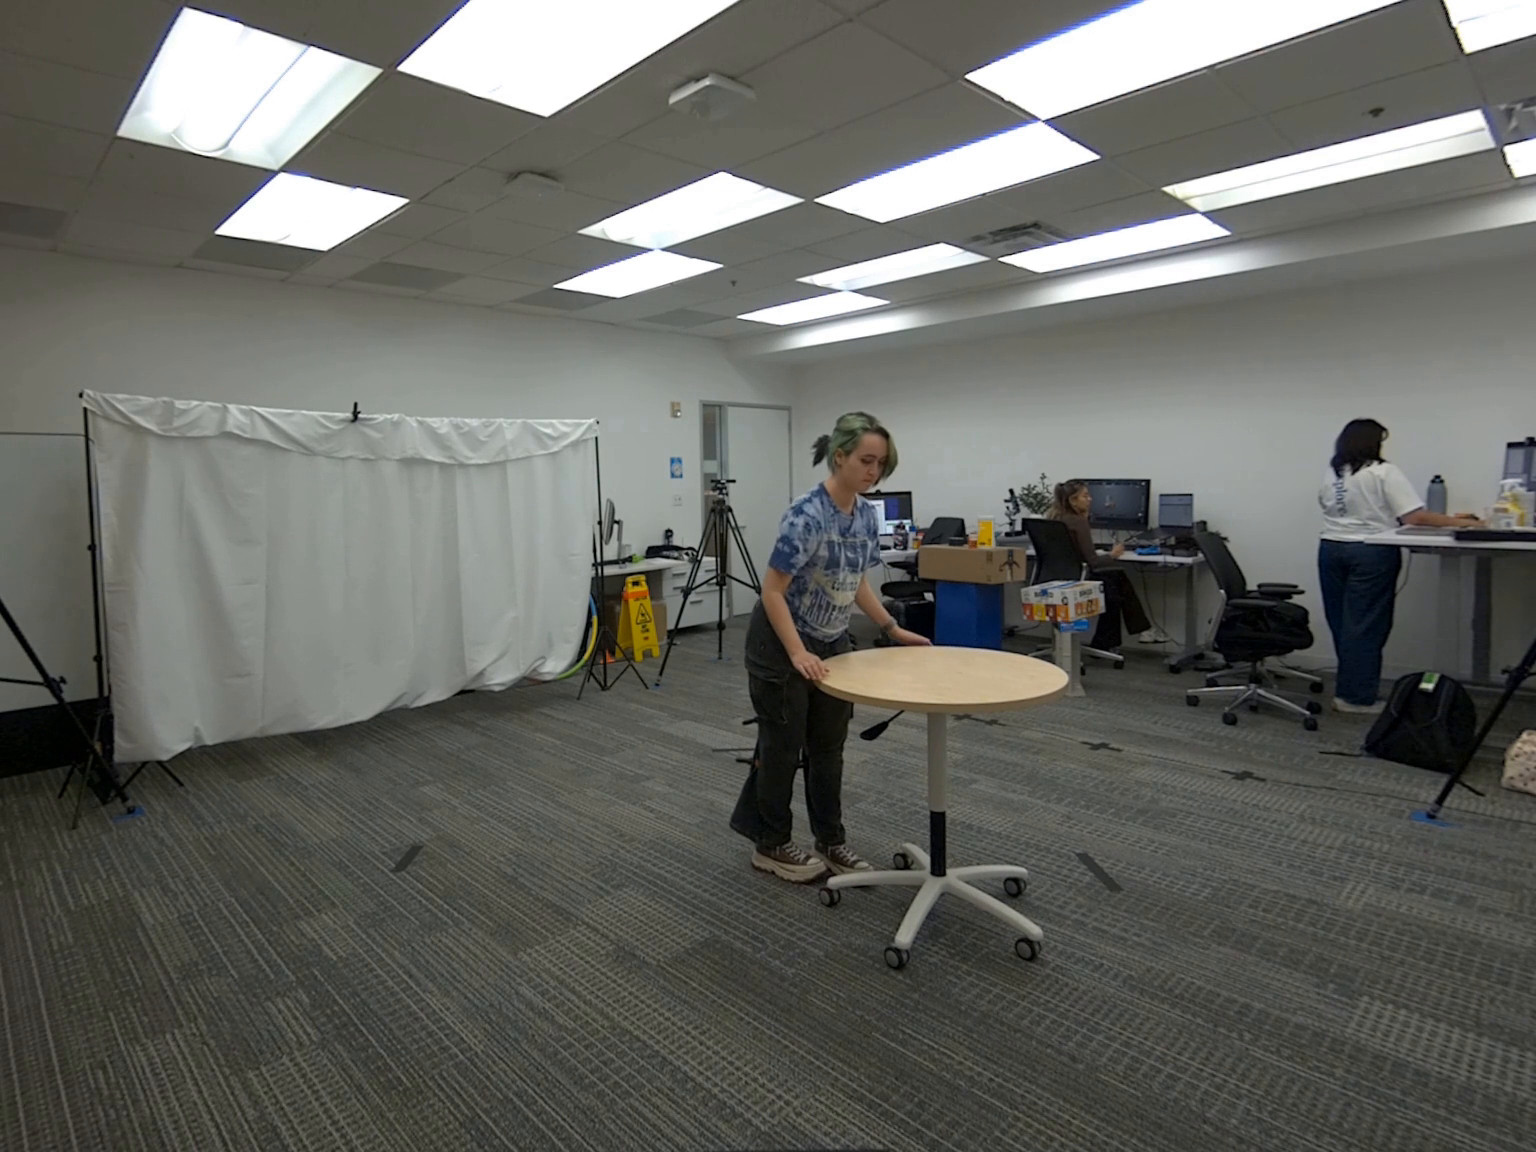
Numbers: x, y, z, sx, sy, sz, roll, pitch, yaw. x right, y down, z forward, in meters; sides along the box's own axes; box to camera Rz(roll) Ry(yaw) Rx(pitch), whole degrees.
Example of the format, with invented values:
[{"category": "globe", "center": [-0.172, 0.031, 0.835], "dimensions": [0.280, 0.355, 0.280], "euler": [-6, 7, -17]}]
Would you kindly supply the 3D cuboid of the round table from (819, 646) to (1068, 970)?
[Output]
[{"category": "round table", "center": [0.542, 0.694, 2.679], "dimensions": [0.763, 0.790, 0.768], "euler": [-1, 5, -2]}]
